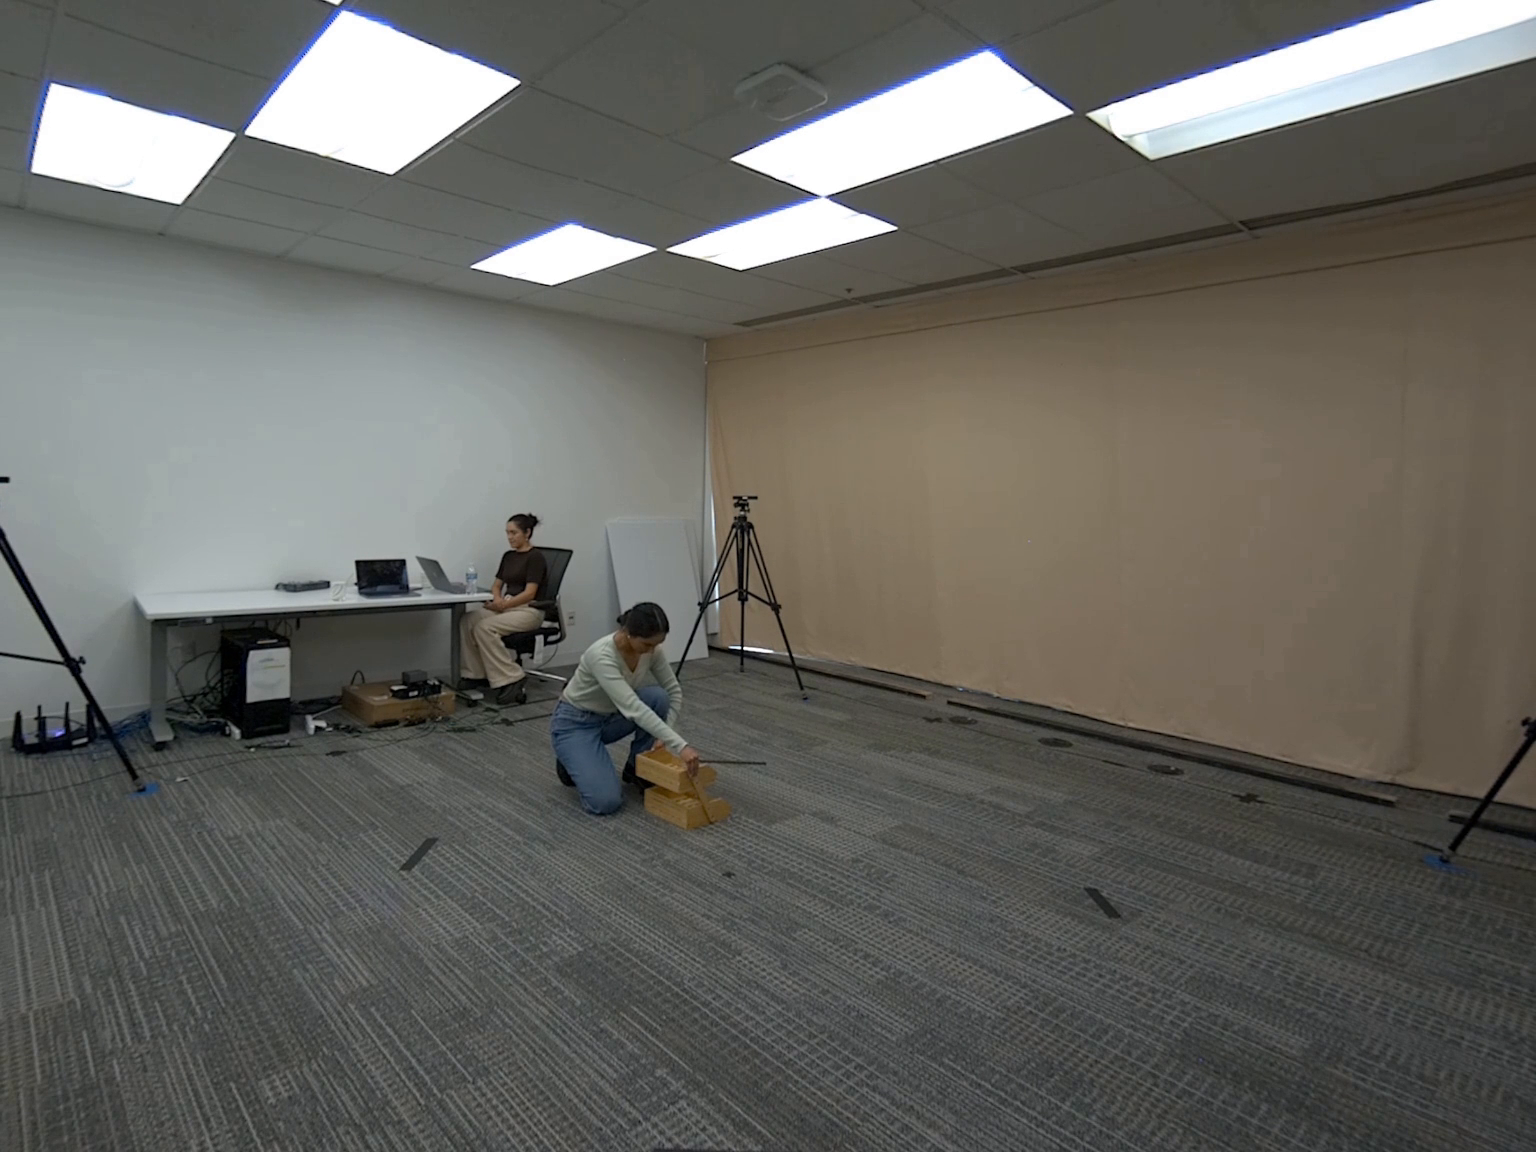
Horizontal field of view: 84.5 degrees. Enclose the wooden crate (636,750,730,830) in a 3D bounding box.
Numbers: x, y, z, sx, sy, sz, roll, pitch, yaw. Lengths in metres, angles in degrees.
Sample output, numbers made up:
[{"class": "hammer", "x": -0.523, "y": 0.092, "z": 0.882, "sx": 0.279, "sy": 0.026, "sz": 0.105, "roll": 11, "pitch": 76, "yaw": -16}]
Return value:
[{"class": "wooden crate", "x": -0.378, "y": 0.913, "z": 3.685, "sx": 0.295, "sy": 0.272, "sz": 0.333, "roll": -4, "pitch": 7, "yaw": -44}]
